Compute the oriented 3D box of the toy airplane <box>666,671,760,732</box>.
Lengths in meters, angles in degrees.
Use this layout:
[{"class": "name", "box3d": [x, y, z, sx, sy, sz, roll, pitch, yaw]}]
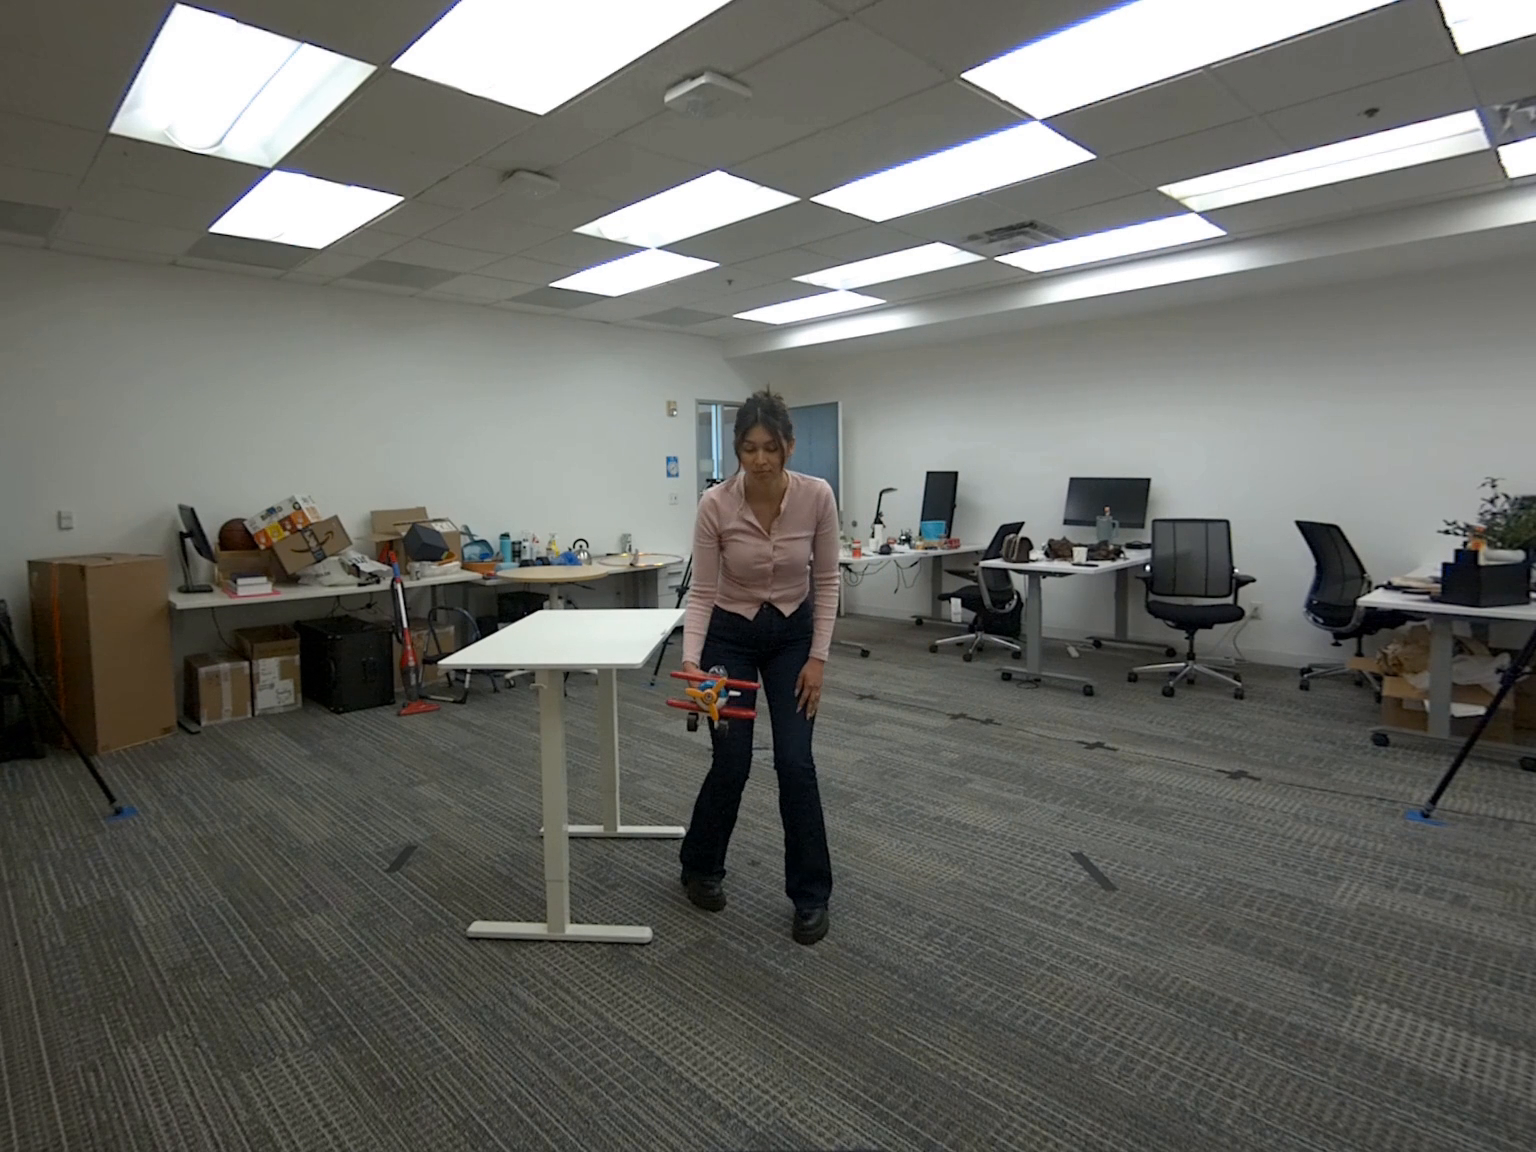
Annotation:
[{"class": "toy airplane", "box3d": [-0.174, 0.343, 2.422, 0.246, 0.155, 0.267, 0, 12, -23]}]
